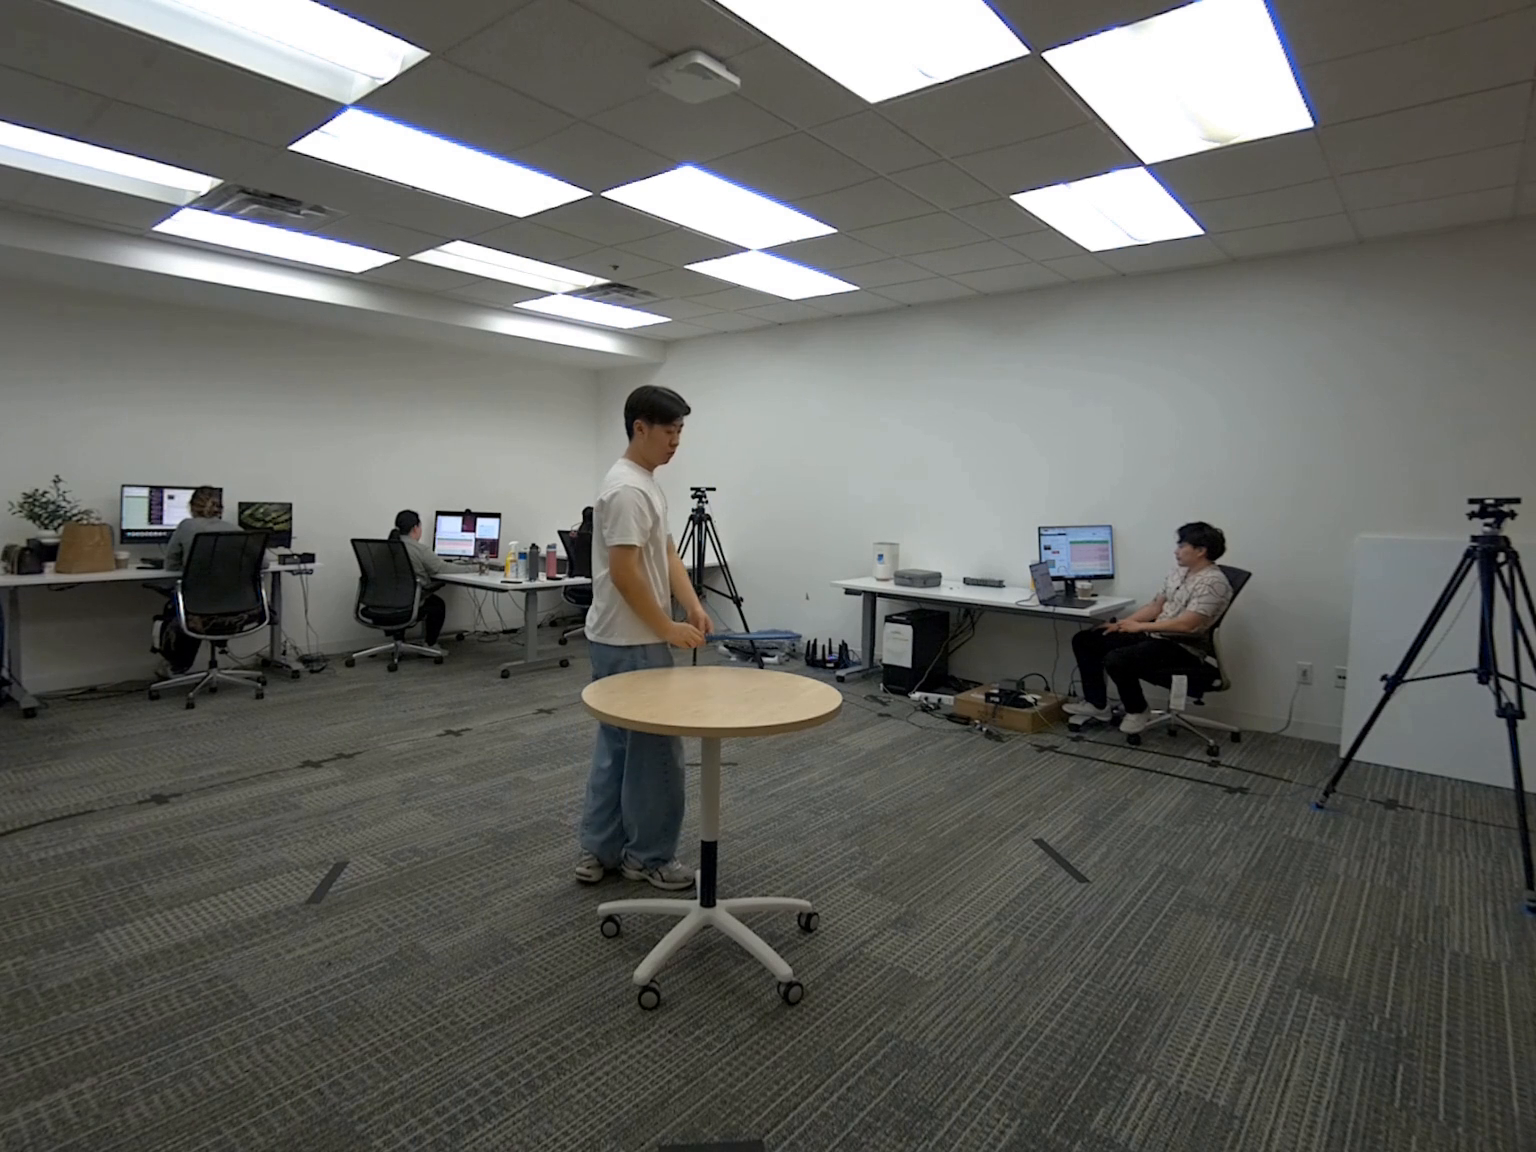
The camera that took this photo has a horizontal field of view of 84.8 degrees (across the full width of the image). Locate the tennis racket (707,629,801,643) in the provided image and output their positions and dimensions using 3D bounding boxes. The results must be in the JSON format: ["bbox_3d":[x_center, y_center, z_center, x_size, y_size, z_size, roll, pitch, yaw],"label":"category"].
[{"bbox_3d":[-0.100,0.206,2.922,0.422,0.031,0.220,-5,7,-31],"label":"tennis racket"}]
